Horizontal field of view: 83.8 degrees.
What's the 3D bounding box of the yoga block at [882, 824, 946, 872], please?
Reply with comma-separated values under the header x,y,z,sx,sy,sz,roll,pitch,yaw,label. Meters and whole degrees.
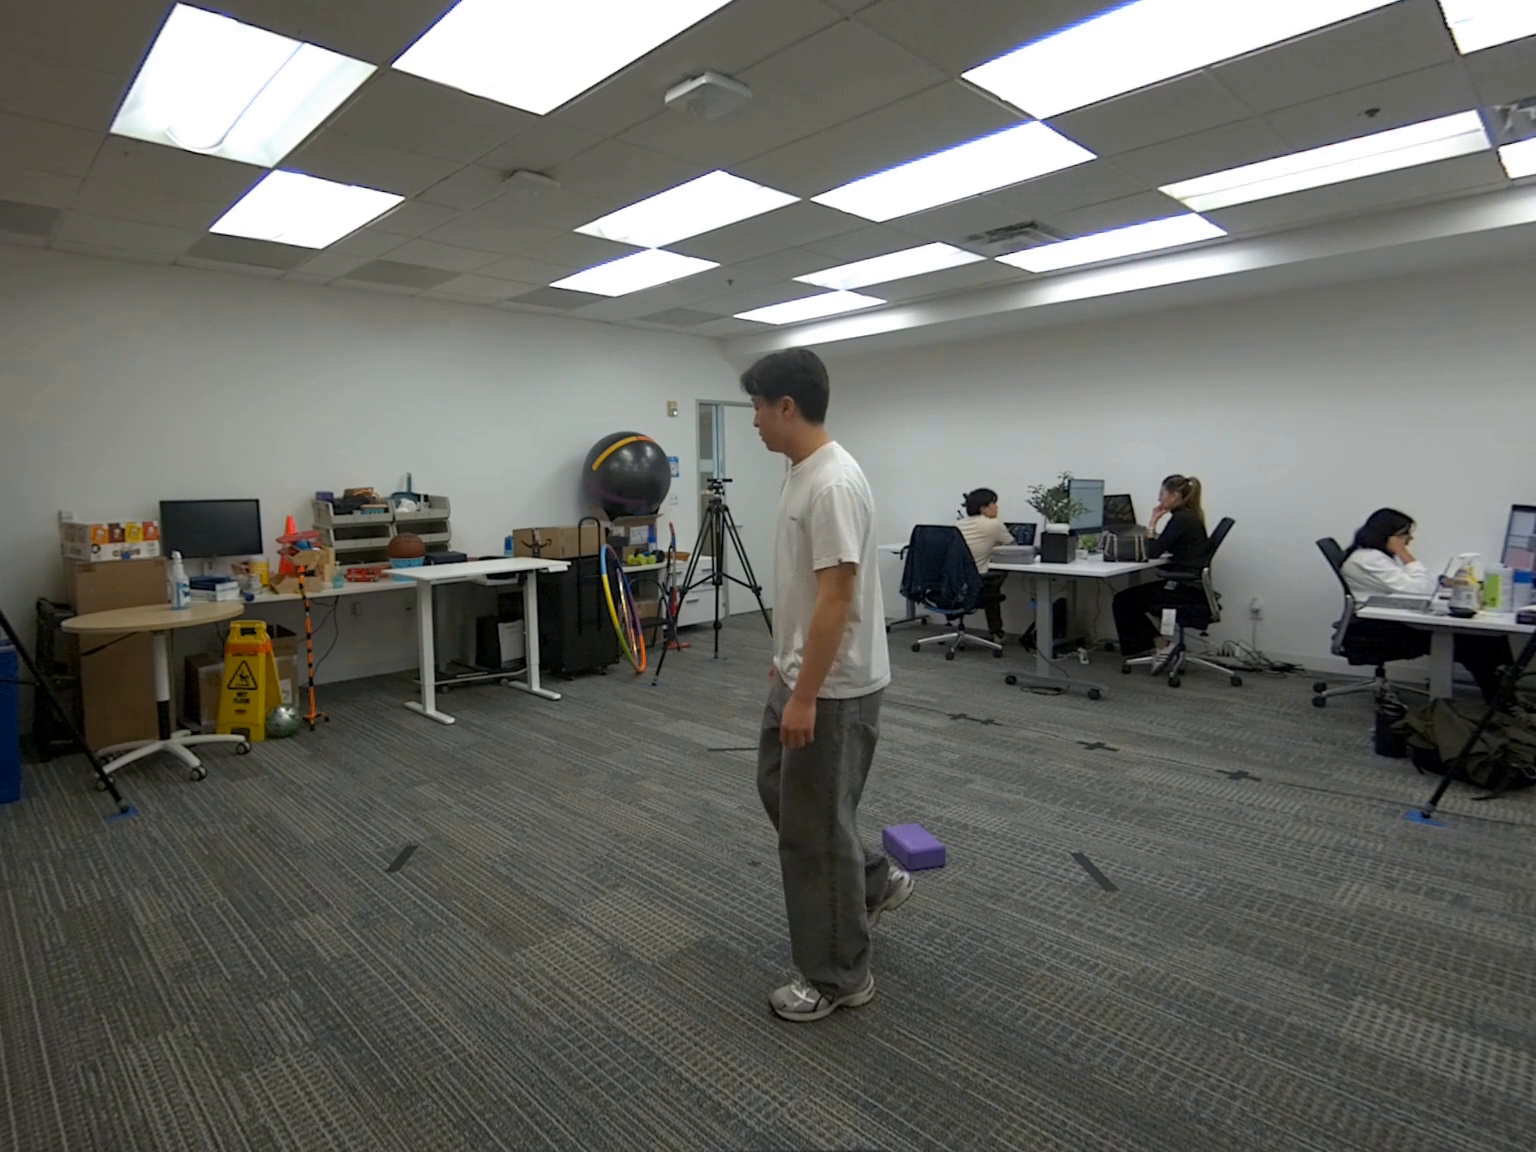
x,y,z,sx,sy,sz,roll,pitch,yaw,label
0.538,0.992,3.144,0.147,0.076,0.233,-3,6,-16,yoga block
